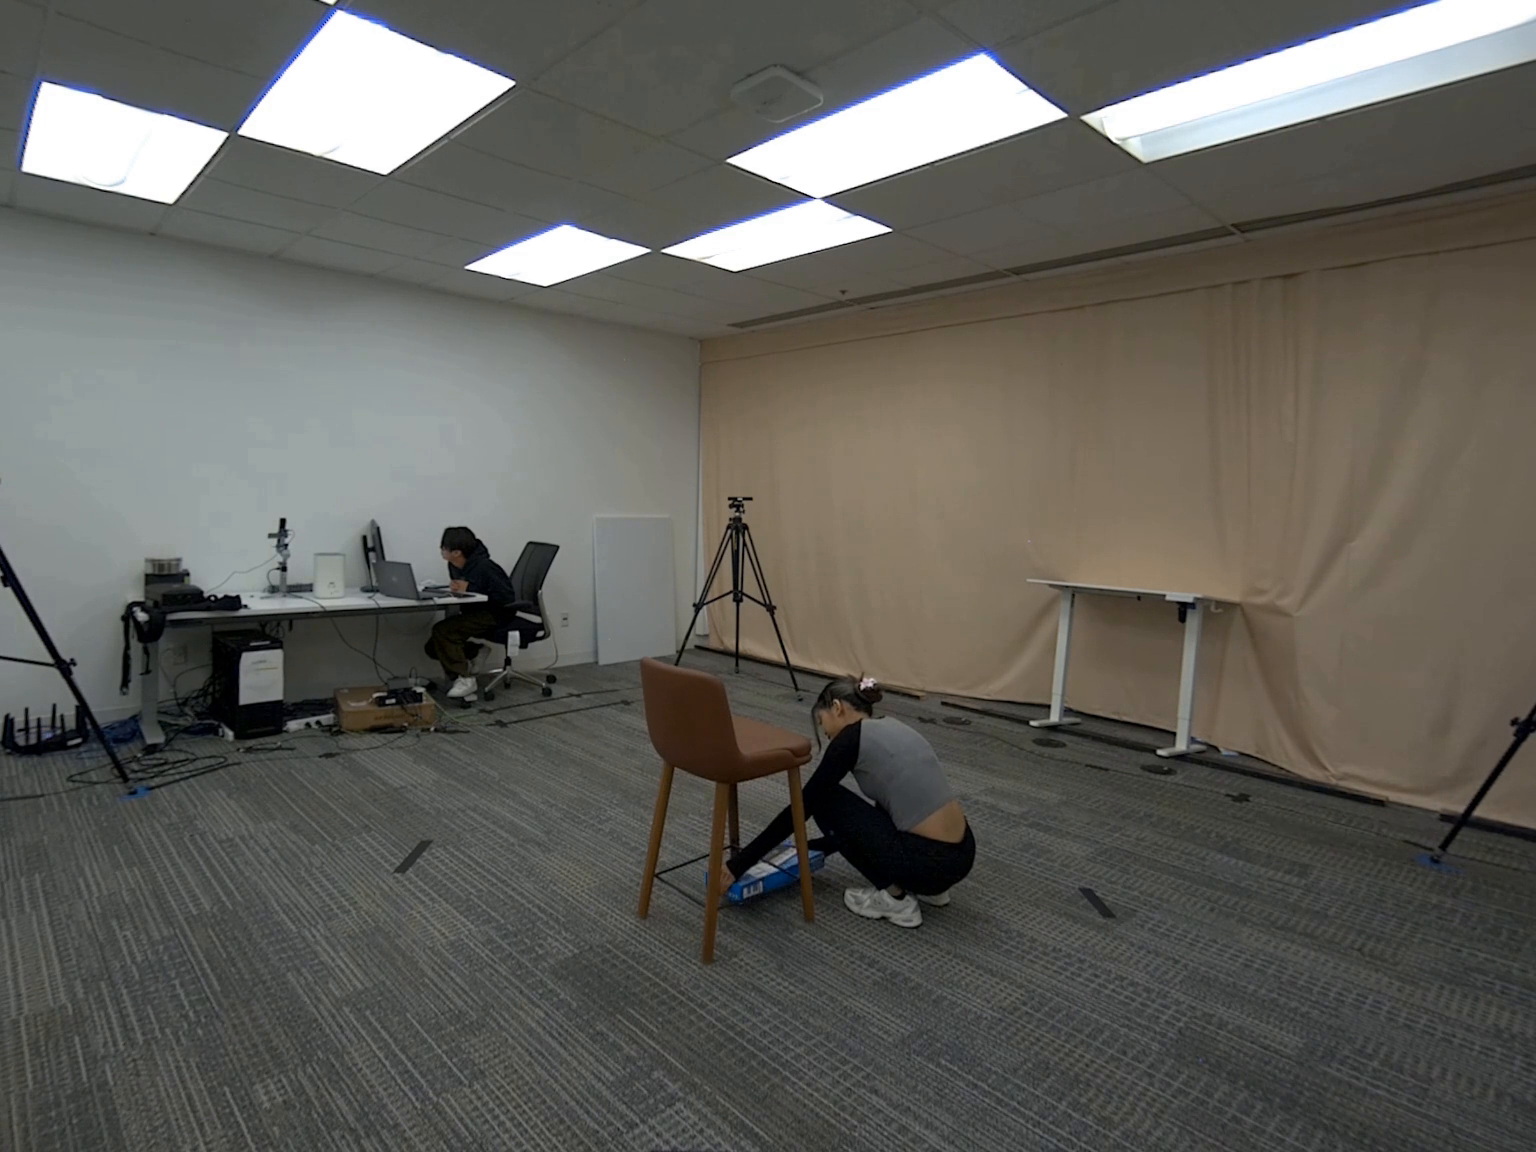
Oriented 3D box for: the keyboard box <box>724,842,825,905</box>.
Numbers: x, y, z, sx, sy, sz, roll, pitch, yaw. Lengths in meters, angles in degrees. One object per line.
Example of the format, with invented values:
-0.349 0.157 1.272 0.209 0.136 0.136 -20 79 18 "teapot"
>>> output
-0.004 1.039 2.966 0.180 0.059 0.427 5 6 44 "keyboard box"
